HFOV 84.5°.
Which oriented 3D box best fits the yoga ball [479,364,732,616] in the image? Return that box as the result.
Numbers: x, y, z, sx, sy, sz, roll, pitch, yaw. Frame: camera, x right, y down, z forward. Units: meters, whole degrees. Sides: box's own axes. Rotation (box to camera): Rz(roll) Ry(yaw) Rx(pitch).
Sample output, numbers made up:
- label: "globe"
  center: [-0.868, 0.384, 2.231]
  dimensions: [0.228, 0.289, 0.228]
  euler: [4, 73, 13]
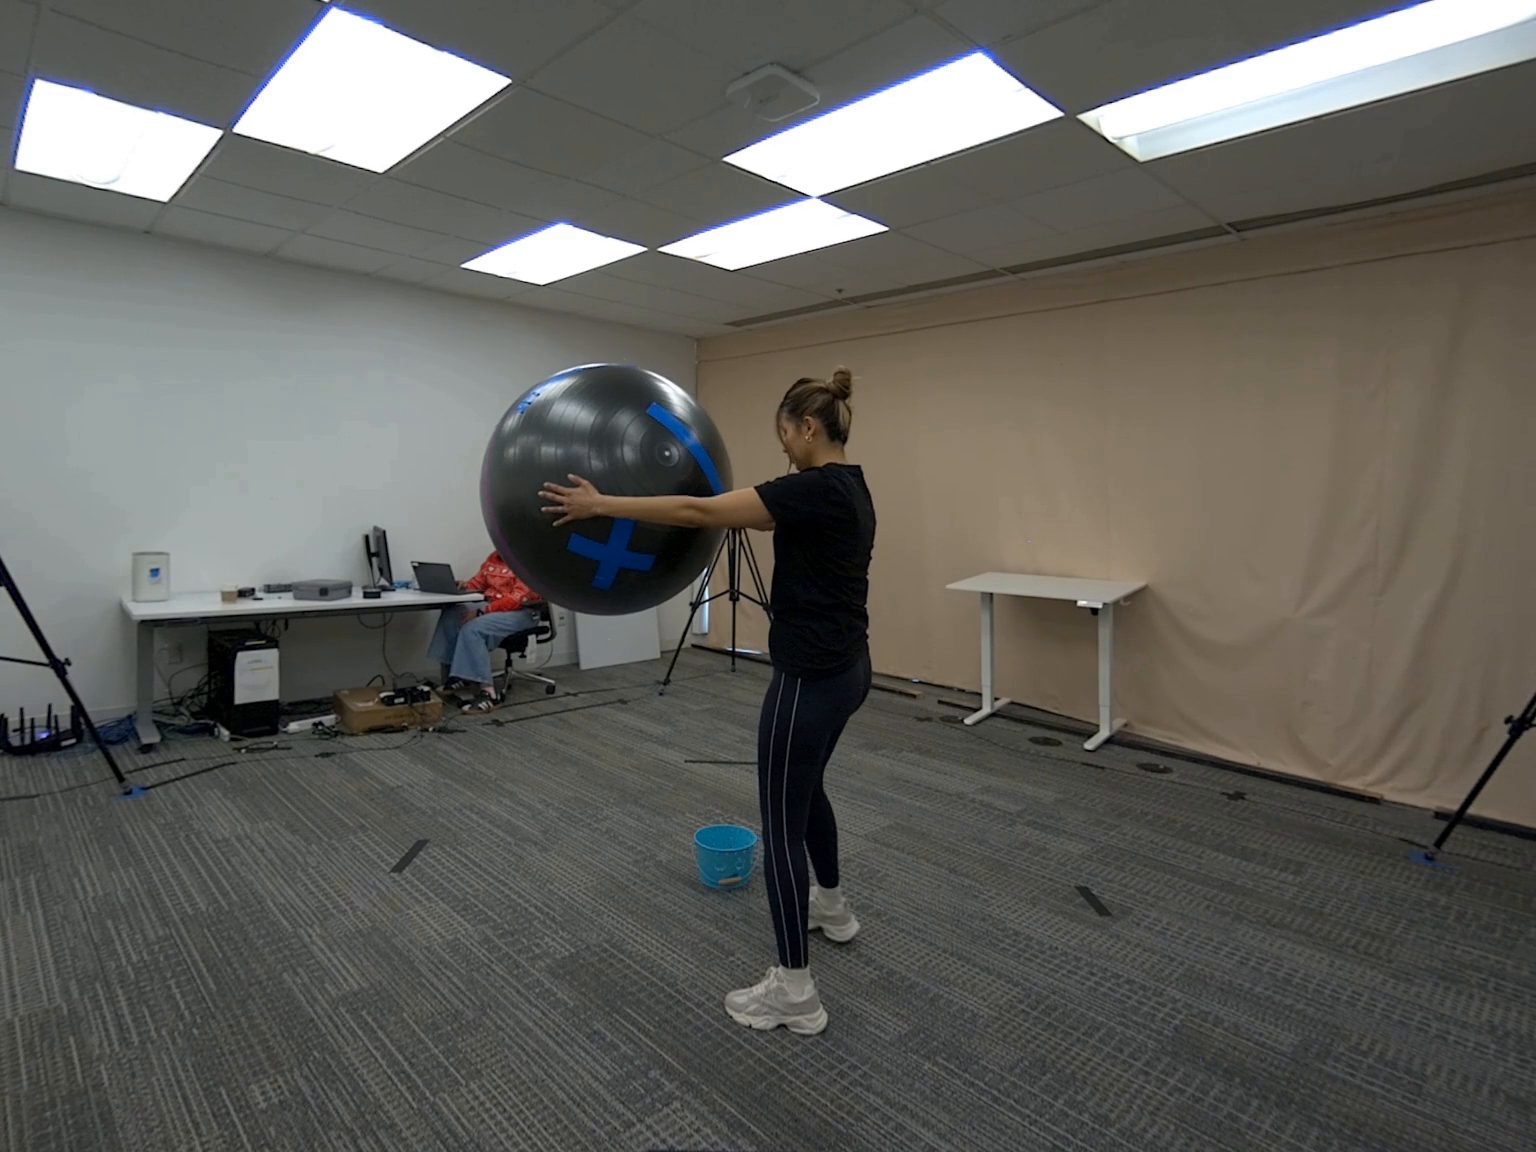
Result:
- label: "yoga ball"
  center: [-0.484, -0.247, 2.561]
  dimensions: [0.757, 0.756, 0.761]
  euler: [1, 4, -1]
